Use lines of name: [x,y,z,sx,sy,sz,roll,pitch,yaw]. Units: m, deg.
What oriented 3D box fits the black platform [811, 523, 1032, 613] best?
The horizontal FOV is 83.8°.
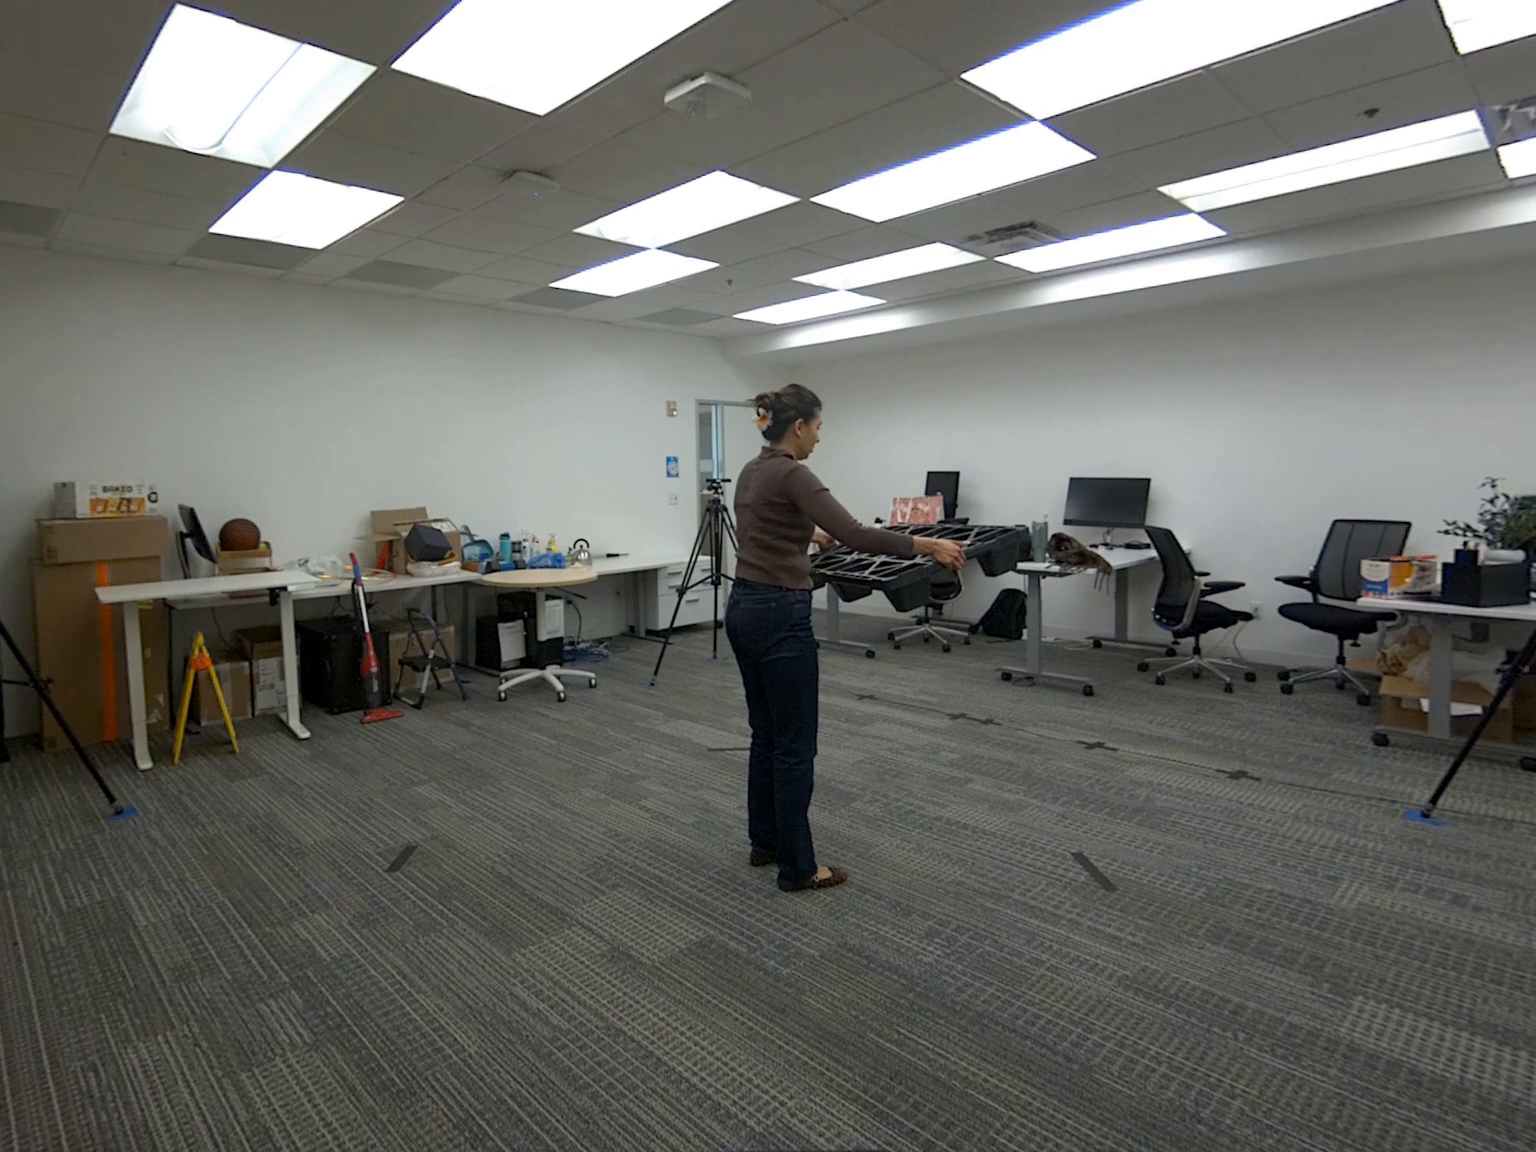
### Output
black platform: [0.468,-0.041,3.118,0.597,0.142,0.825,-20,12,-22]
